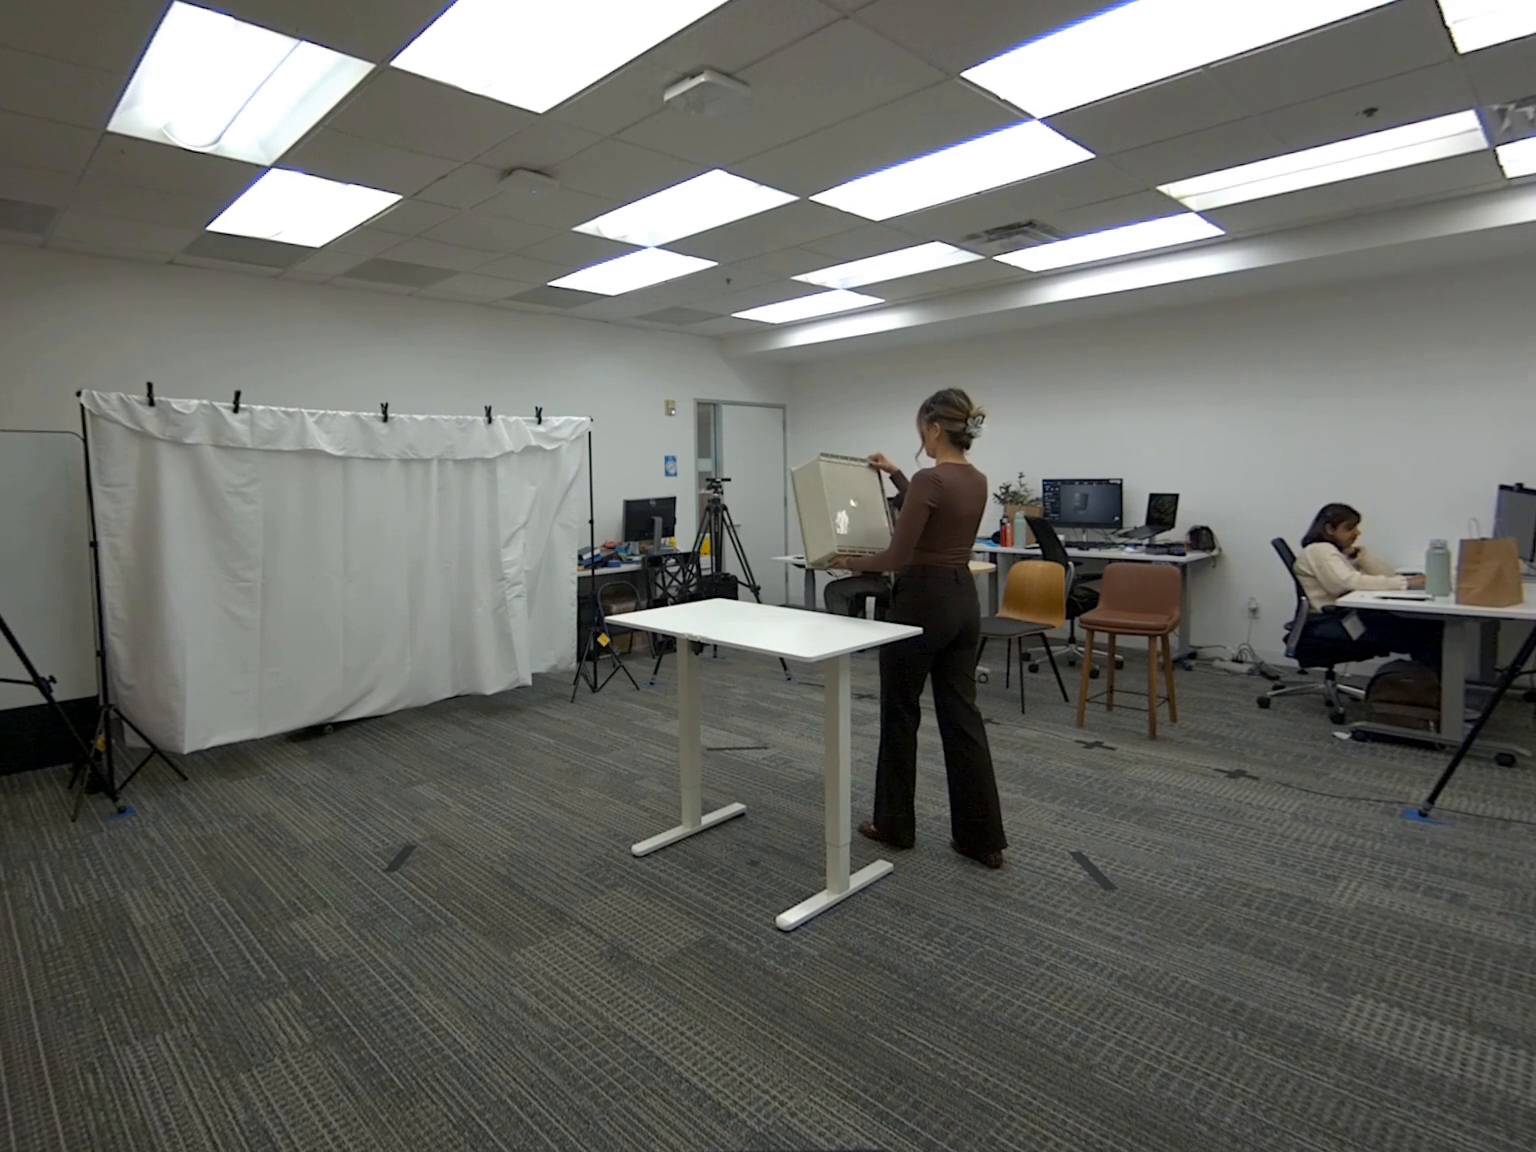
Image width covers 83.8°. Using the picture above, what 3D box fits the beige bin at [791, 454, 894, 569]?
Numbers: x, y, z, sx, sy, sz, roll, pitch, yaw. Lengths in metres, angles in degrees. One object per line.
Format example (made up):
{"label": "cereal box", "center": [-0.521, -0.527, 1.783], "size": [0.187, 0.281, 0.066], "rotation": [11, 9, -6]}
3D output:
{"label": "beige bin", "center": [0.315, -0.249, 3.415], "size": [0.366, 0.429, 0.192], "rotation": [5, -21, -40]}
